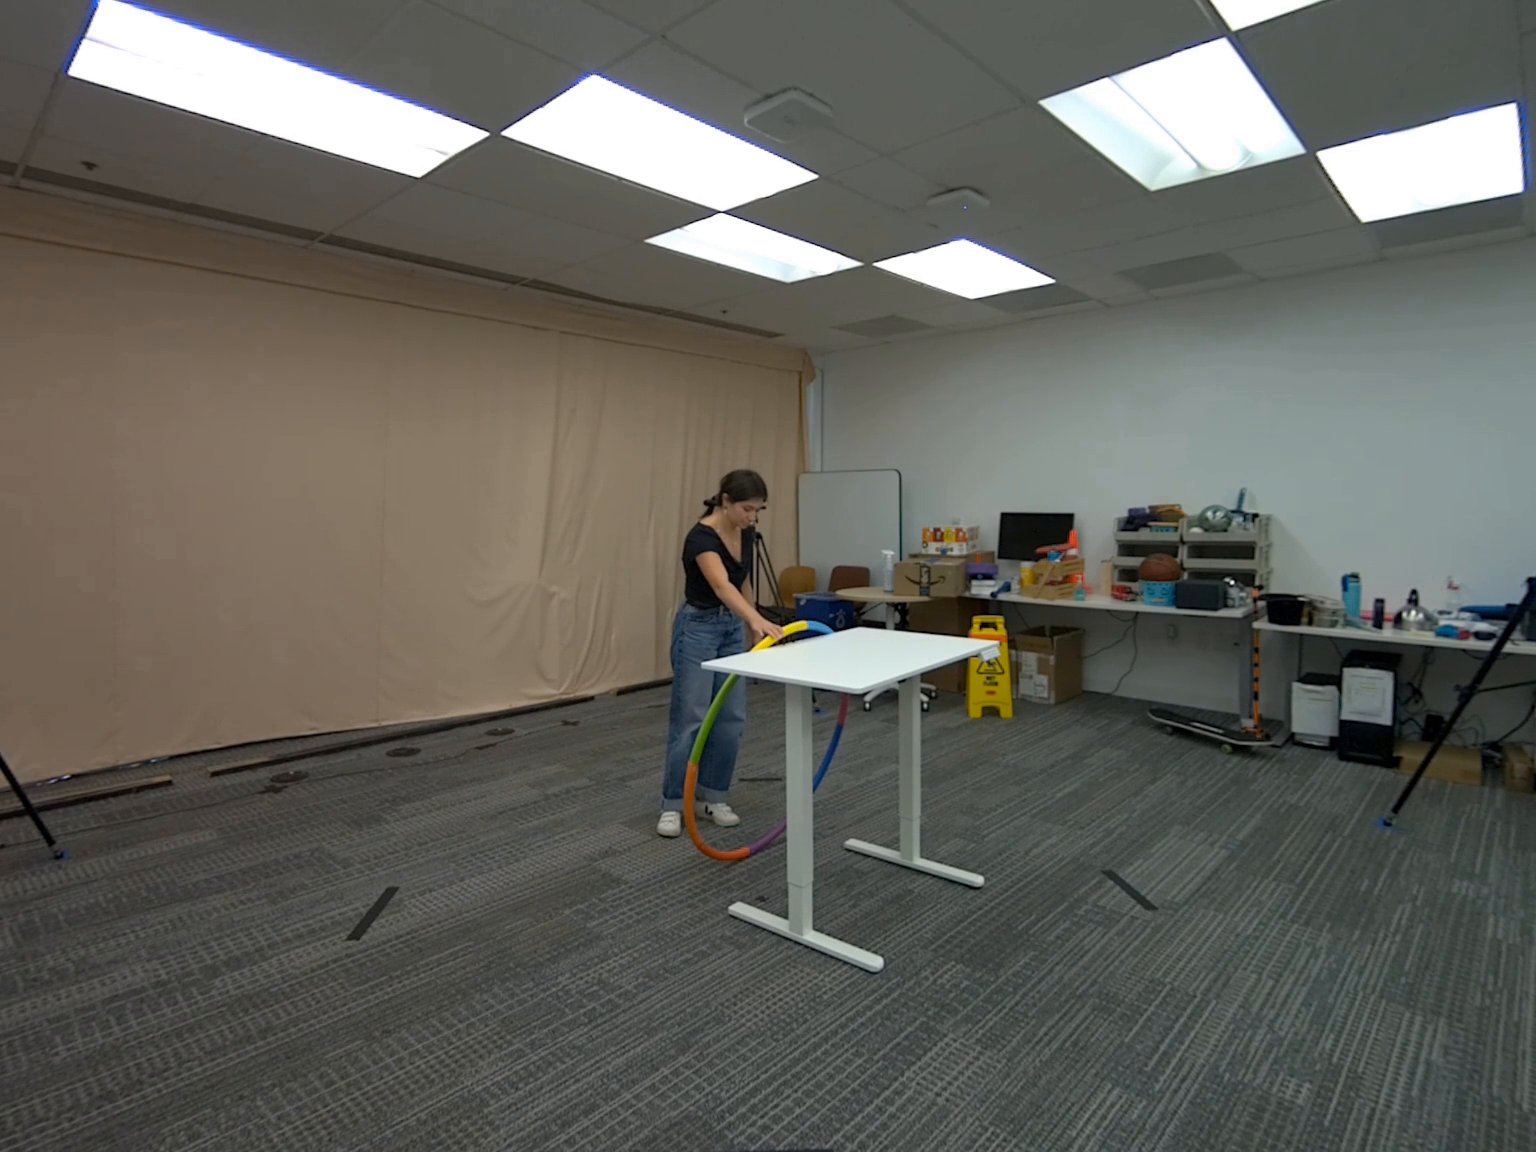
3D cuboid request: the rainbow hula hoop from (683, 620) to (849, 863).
[{"bbox_3d":[0.025,0.642,3.283,0.037,0.973,0.949,20,15,37],"label":"rainbow hula hoop"}]
